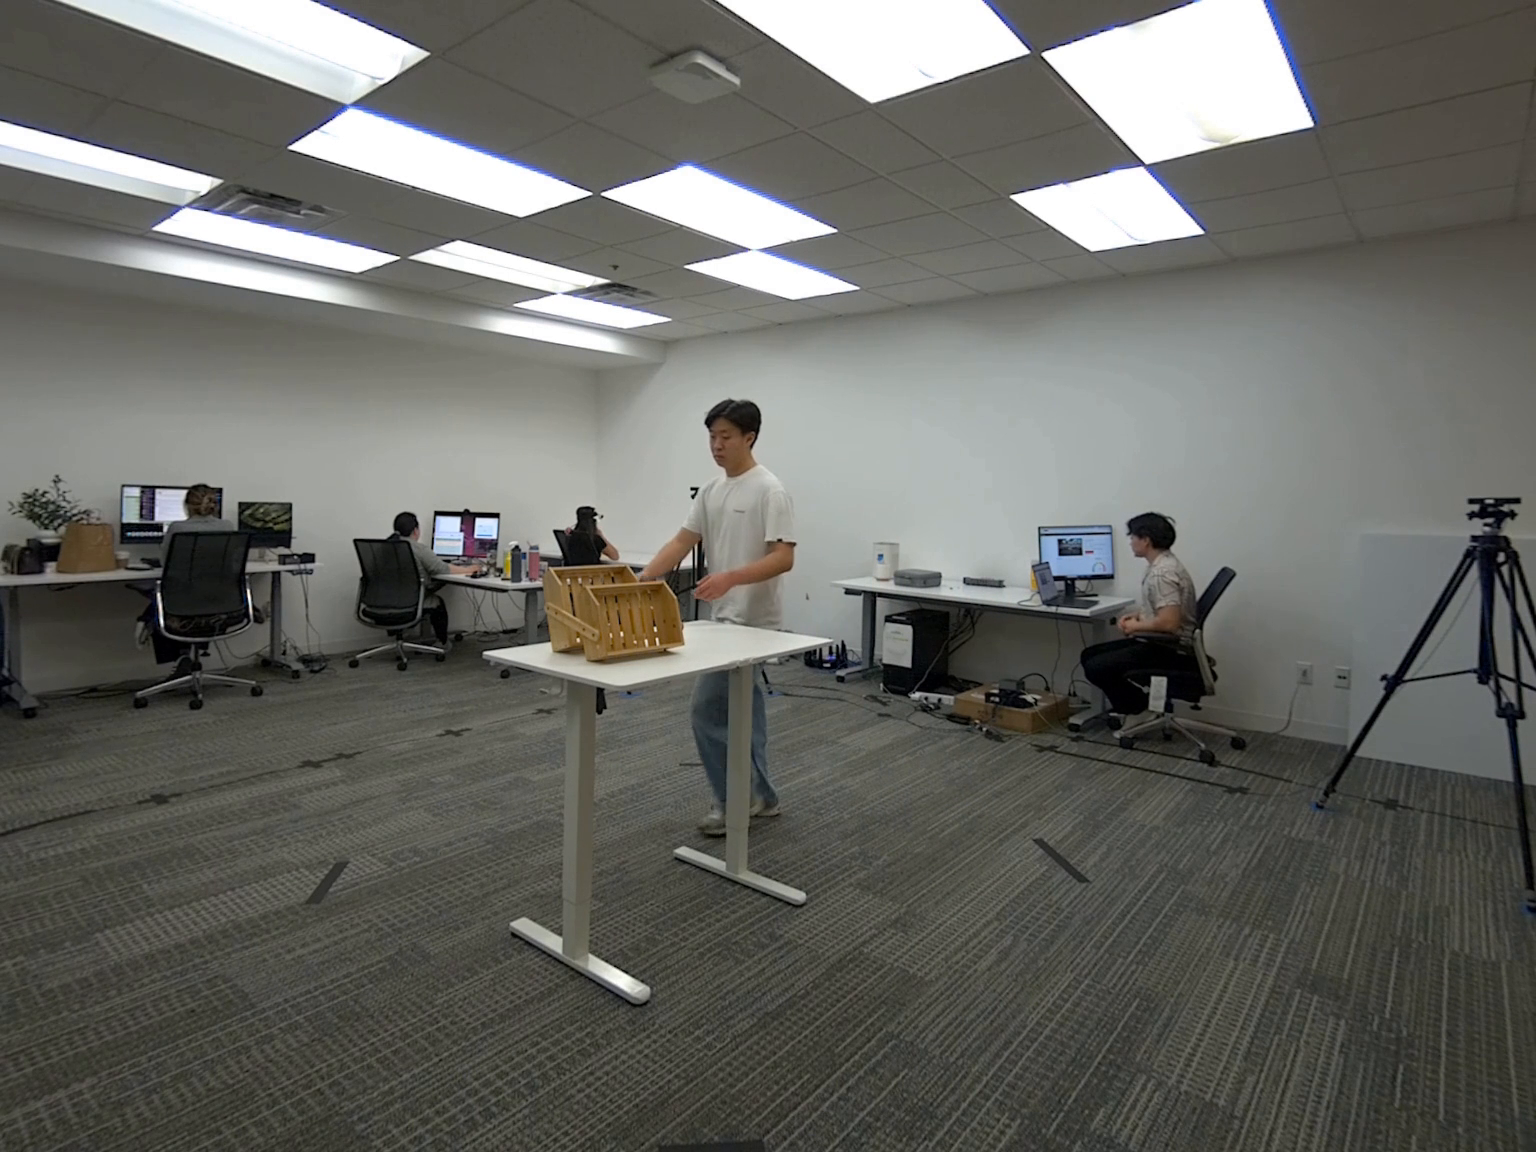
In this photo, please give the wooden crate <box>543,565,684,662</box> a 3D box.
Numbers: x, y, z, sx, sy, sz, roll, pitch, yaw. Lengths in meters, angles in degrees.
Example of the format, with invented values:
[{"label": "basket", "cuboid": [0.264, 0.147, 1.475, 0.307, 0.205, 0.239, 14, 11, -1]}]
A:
[{"label": "wooden crate", "cuboid": [-0.480, 0.096, 2.589, 0.314, 0.305, 0.279, -3, -11, -45]}]
